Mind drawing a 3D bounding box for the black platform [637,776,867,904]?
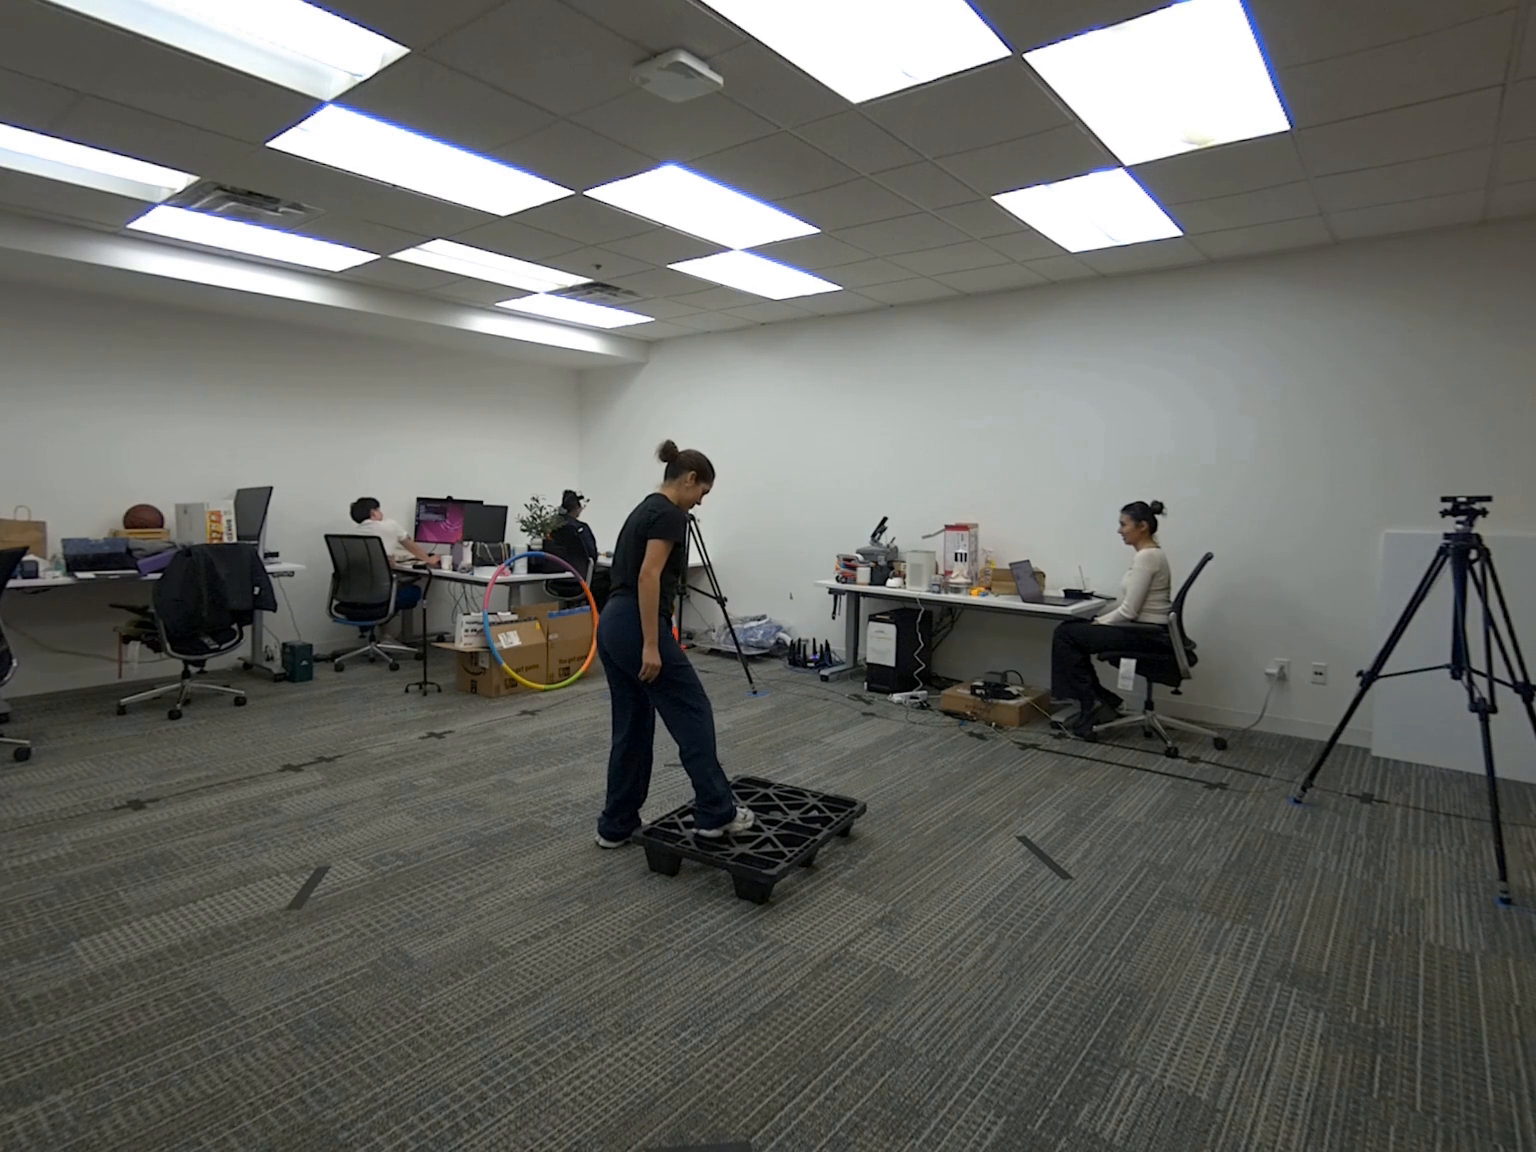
[{"bbox_3d":[-0.039,0.985,3.274,0.623,0.143,0.785,4,6,31],"label":"black platform"}]
